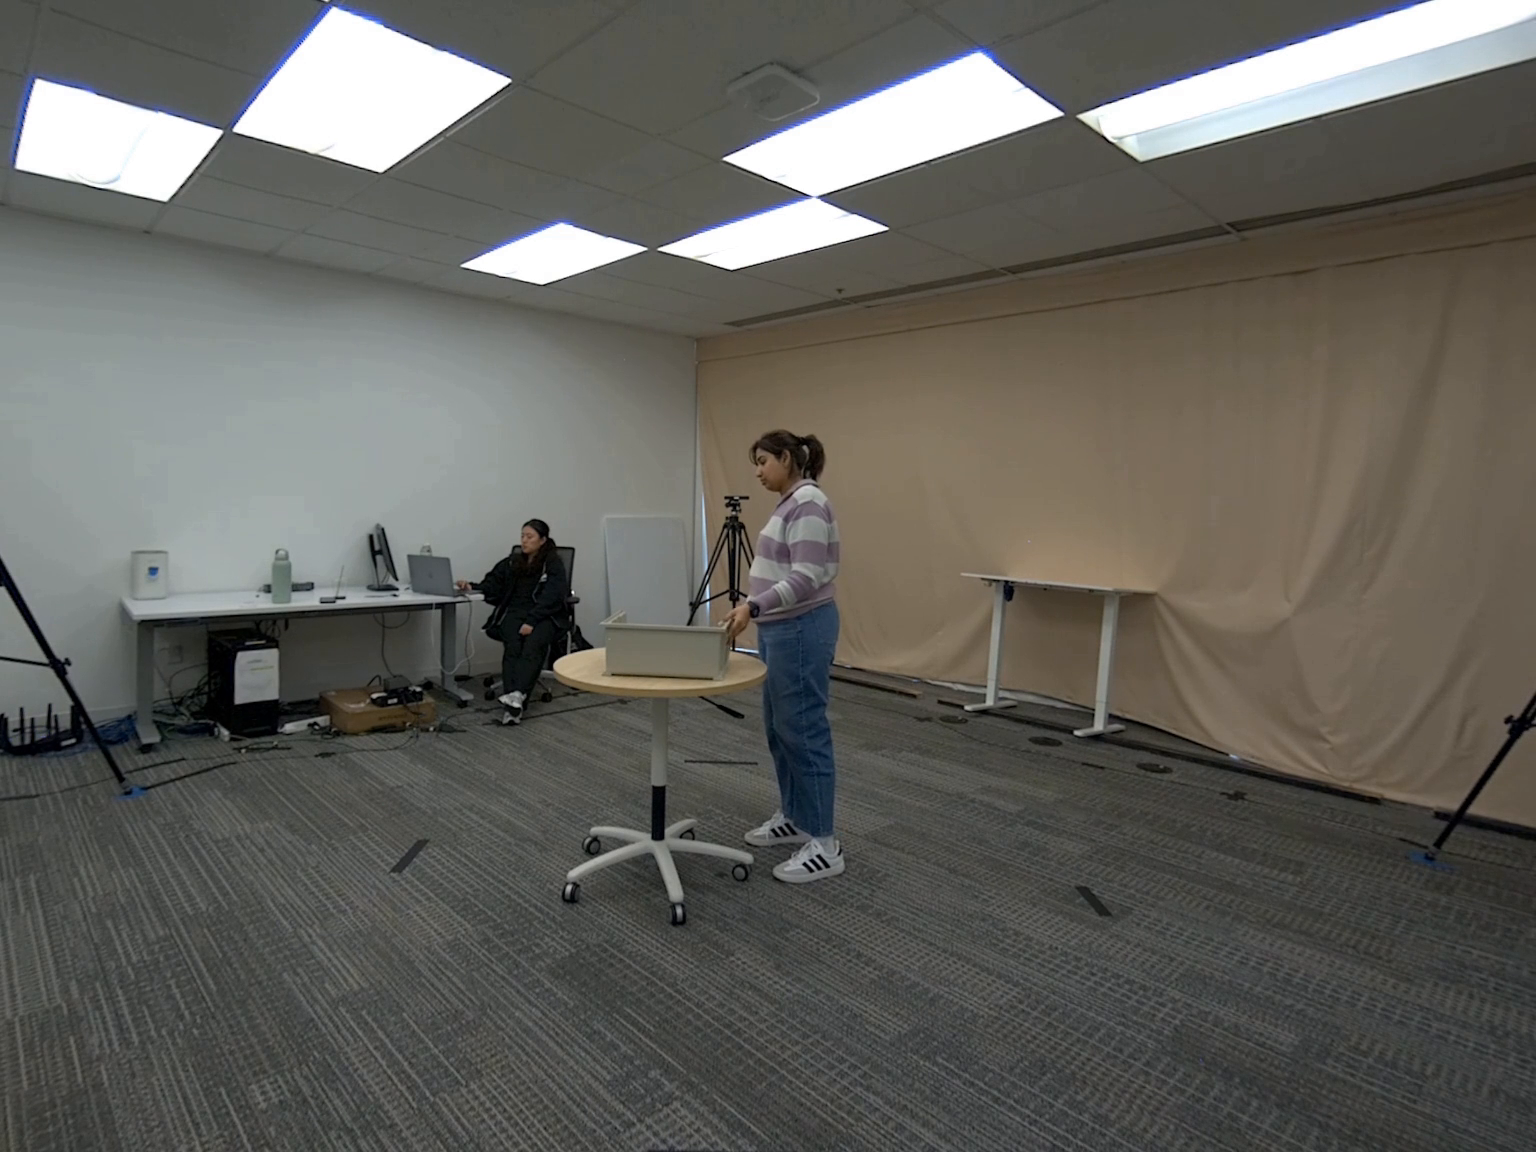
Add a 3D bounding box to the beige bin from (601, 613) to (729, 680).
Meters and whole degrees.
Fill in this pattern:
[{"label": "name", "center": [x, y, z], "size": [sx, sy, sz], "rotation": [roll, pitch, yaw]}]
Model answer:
[{"label": "beige bin", "center": [-0.354, 0.242, 2.982], "size": [0.424, 0.188, 0.377], "rotation": [3, 6, 4]}]
